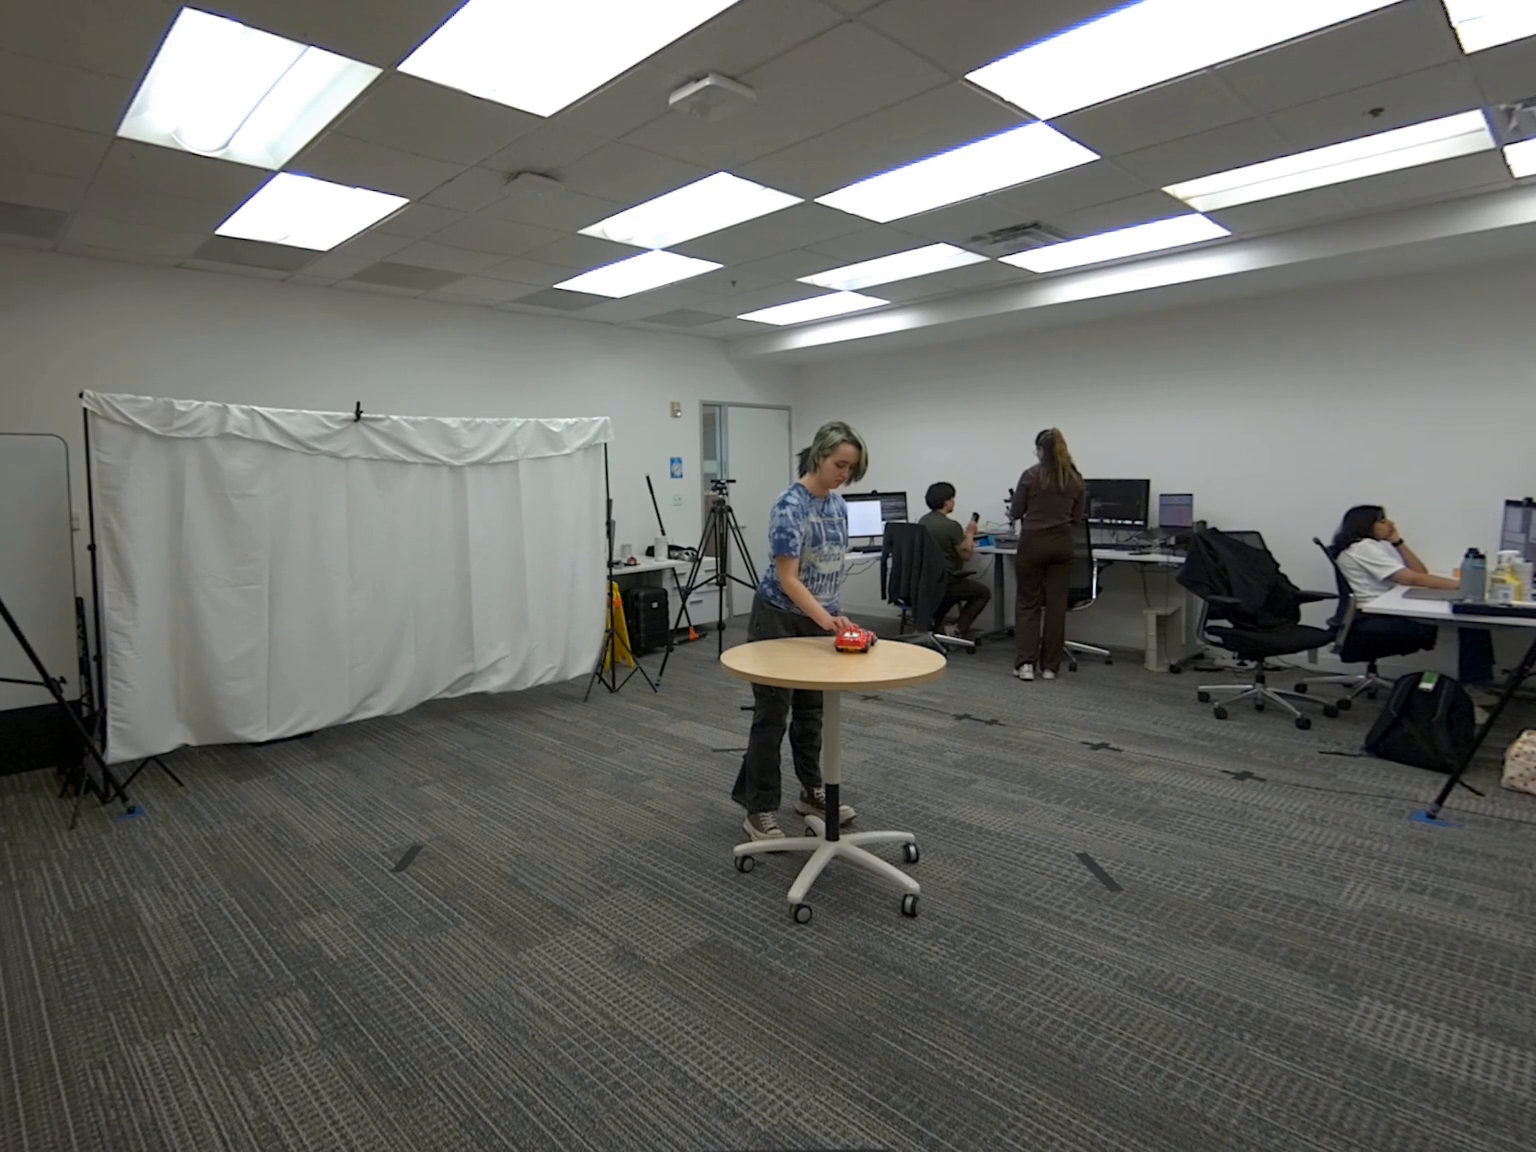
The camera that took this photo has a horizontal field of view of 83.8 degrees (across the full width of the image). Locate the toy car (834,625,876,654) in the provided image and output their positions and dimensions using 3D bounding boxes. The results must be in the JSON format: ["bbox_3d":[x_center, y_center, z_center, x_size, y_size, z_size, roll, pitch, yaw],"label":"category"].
[{"bbox_3d":[0.311,0.233,3.069,0.132,0.083,0.249,2,-5,16],"label":"toy car"}]
